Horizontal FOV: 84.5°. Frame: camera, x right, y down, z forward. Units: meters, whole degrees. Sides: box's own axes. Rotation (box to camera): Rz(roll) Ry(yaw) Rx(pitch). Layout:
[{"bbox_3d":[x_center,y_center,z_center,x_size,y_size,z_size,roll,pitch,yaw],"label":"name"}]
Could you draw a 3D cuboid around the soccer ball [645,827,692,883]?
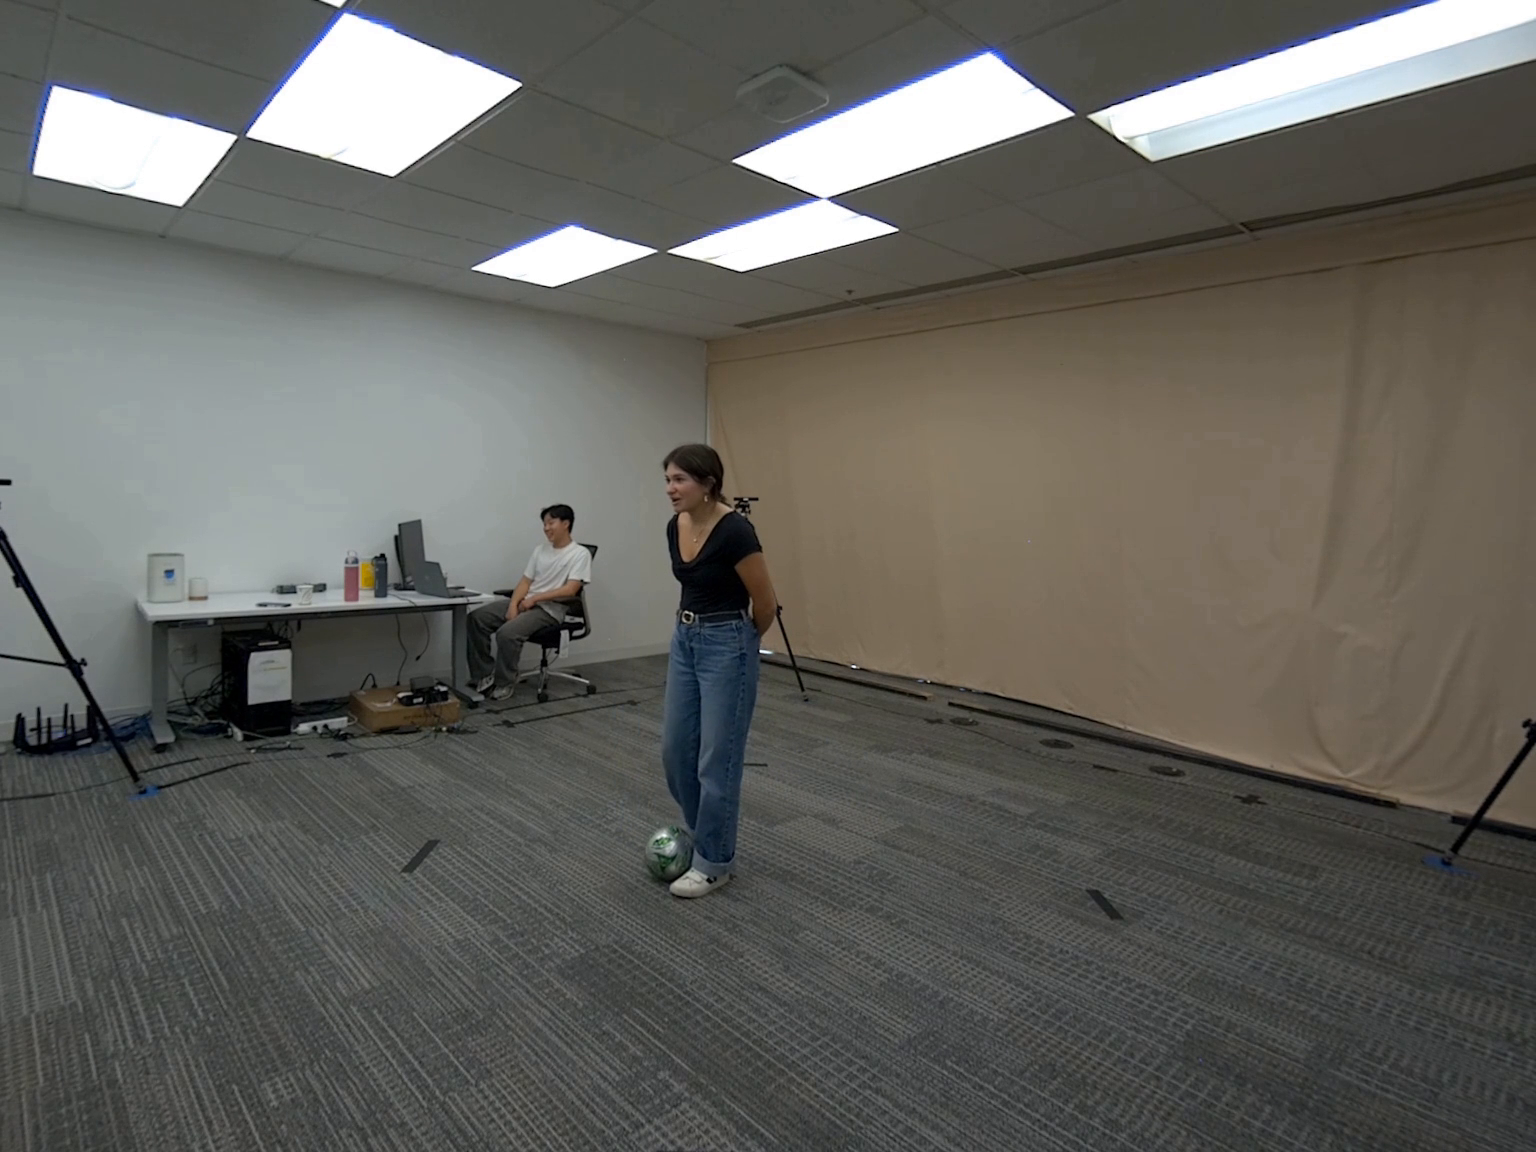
[{"bbox_3d":[-0.364,1.007,3.082,0.187,0.187,0.188,1,4,-1],"label":"soccer ball"}]
